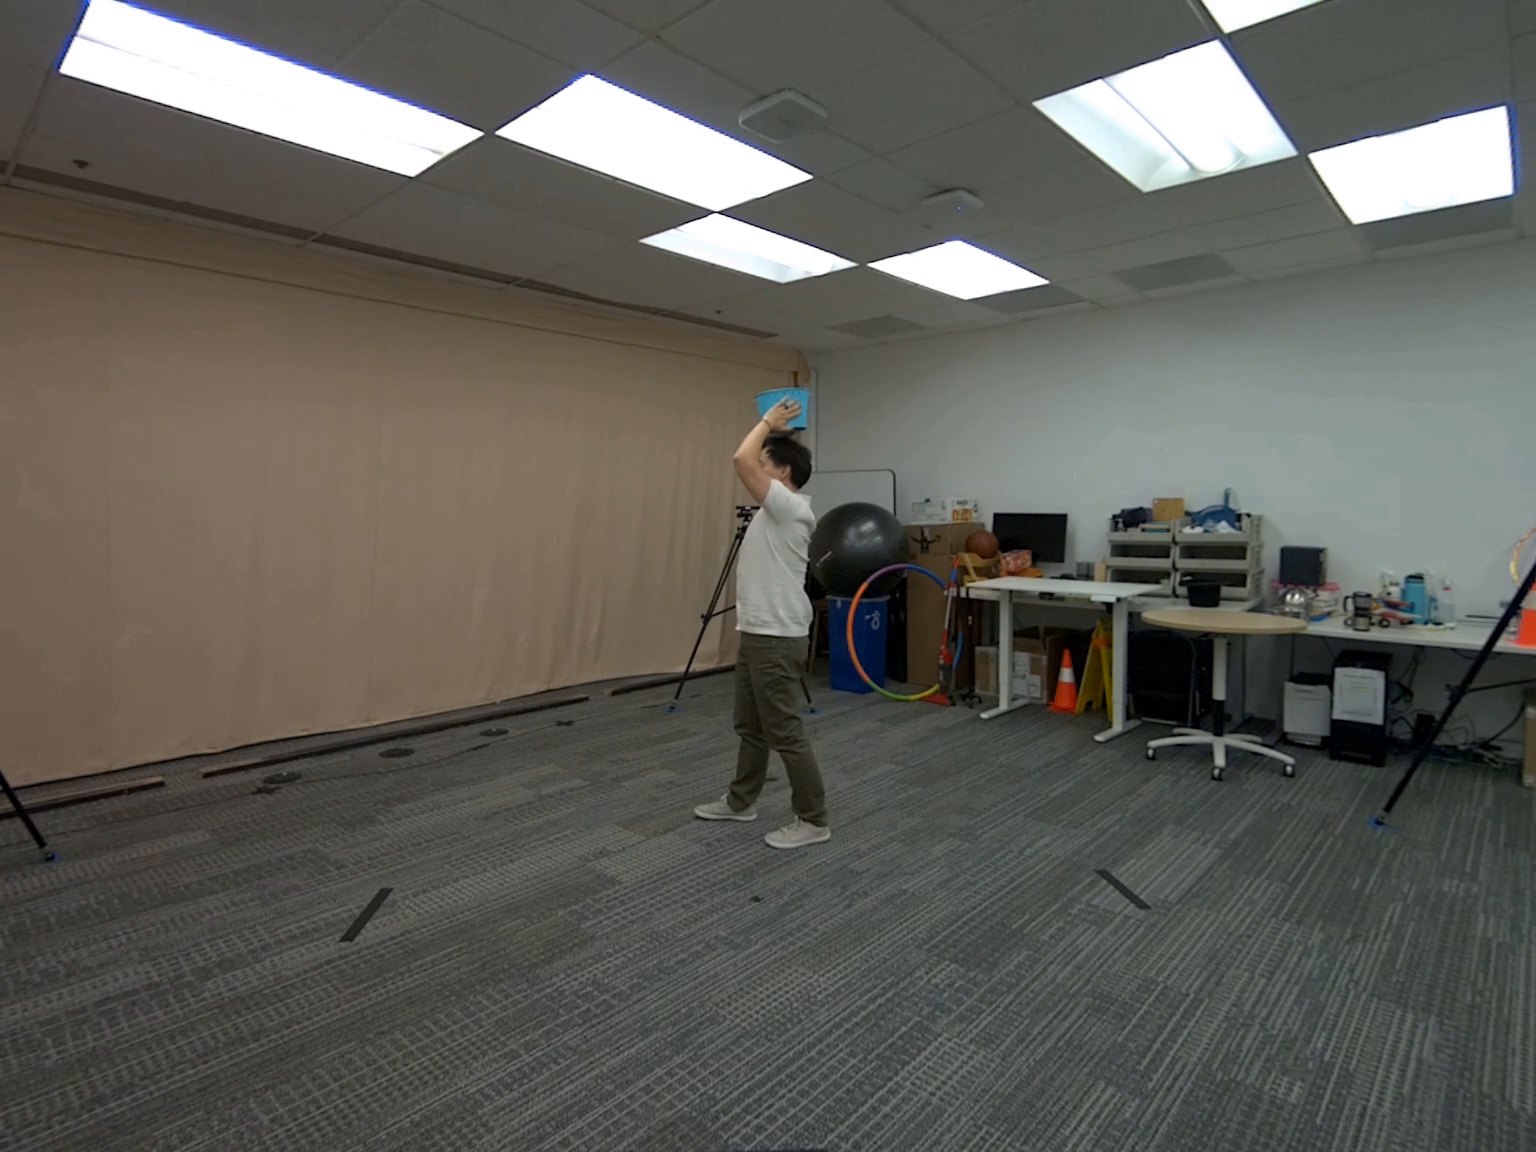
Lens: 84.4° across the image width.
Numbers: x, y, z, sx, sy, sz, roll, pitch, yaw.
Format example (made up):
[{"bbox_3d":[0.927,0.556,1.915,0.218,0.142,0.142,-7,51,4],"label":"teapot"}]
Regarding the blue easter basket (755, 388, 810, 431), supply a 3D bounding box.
[{"bbox_3d":[0.071,-0.679,3.520,0.243,0.156,0.244,-3,0,-2],"label":"blue easter basket"}]
